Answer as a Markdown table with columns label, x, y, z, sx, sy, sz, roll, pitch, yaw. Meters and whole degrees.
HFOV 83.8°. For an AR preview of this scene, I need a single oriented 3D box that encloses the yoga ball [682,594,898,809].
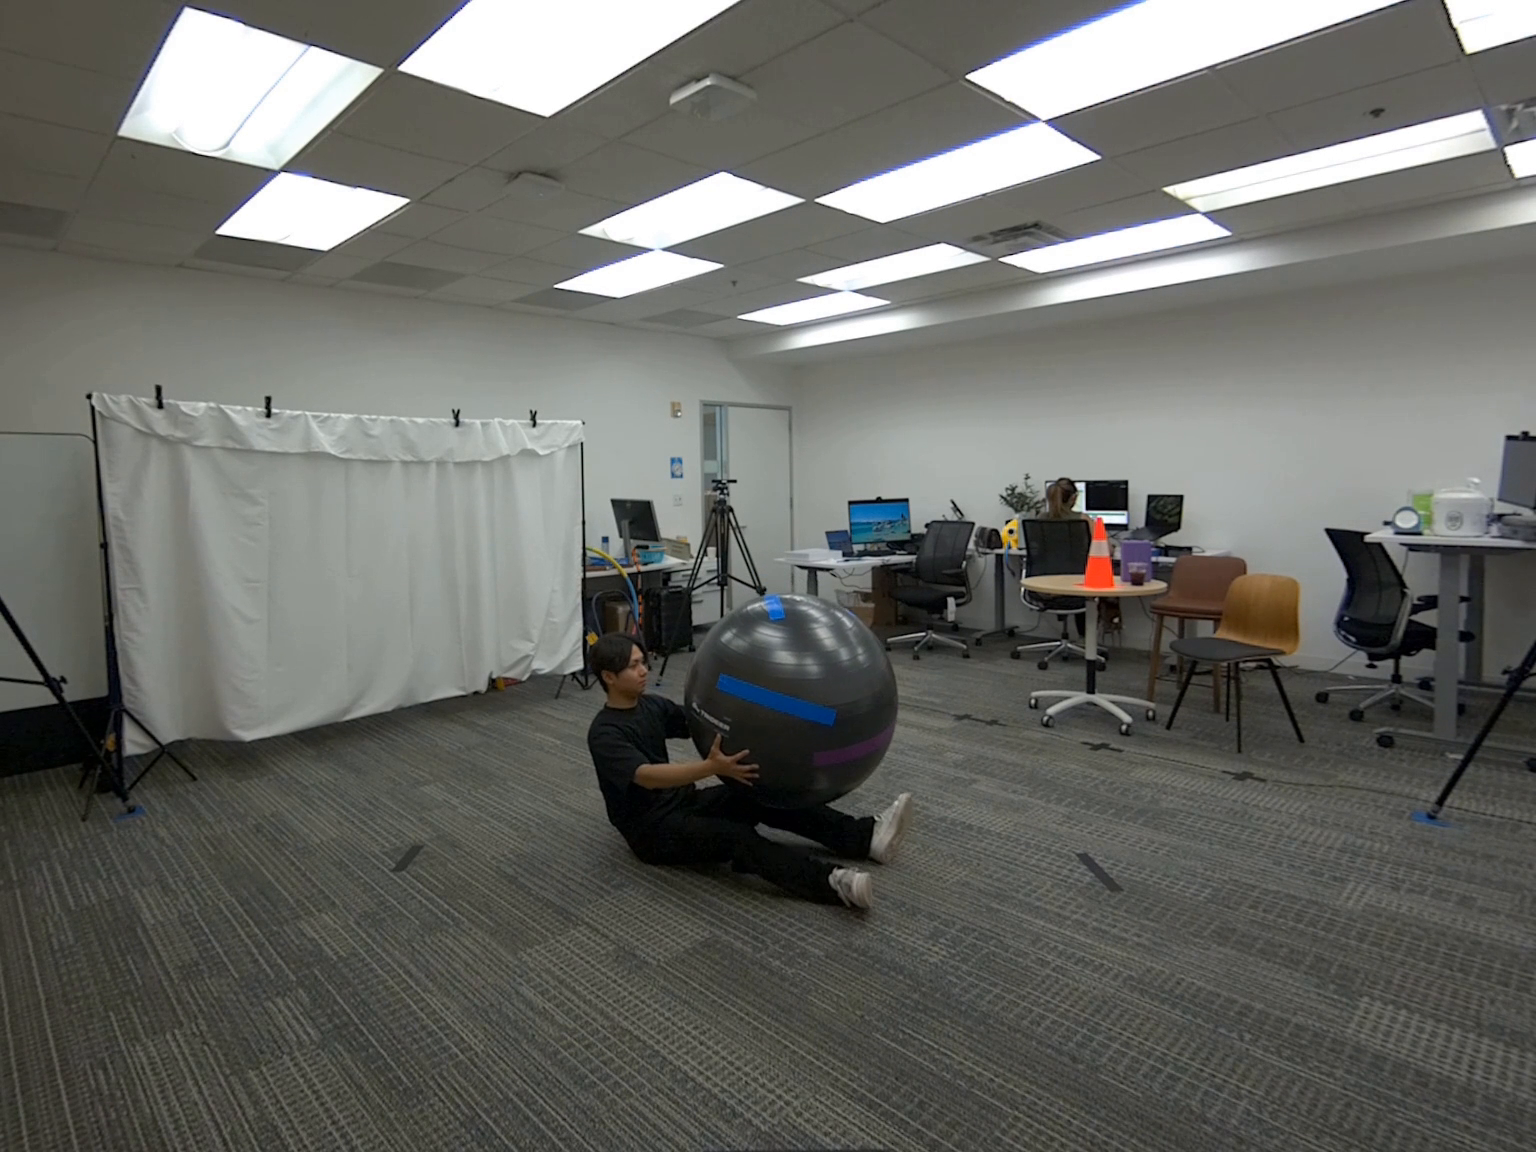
| label | x | y | z | sx | sy | sz | roll | pitch | yaw |
| --- | --- | --- | --- | --- | --- | --- | --- | --- | --- |
| yoga ball | 0.086 | 0.455 | 3.066 | 0.757 | 0.755 | 0.762 | -1 | 5 | -2 |
